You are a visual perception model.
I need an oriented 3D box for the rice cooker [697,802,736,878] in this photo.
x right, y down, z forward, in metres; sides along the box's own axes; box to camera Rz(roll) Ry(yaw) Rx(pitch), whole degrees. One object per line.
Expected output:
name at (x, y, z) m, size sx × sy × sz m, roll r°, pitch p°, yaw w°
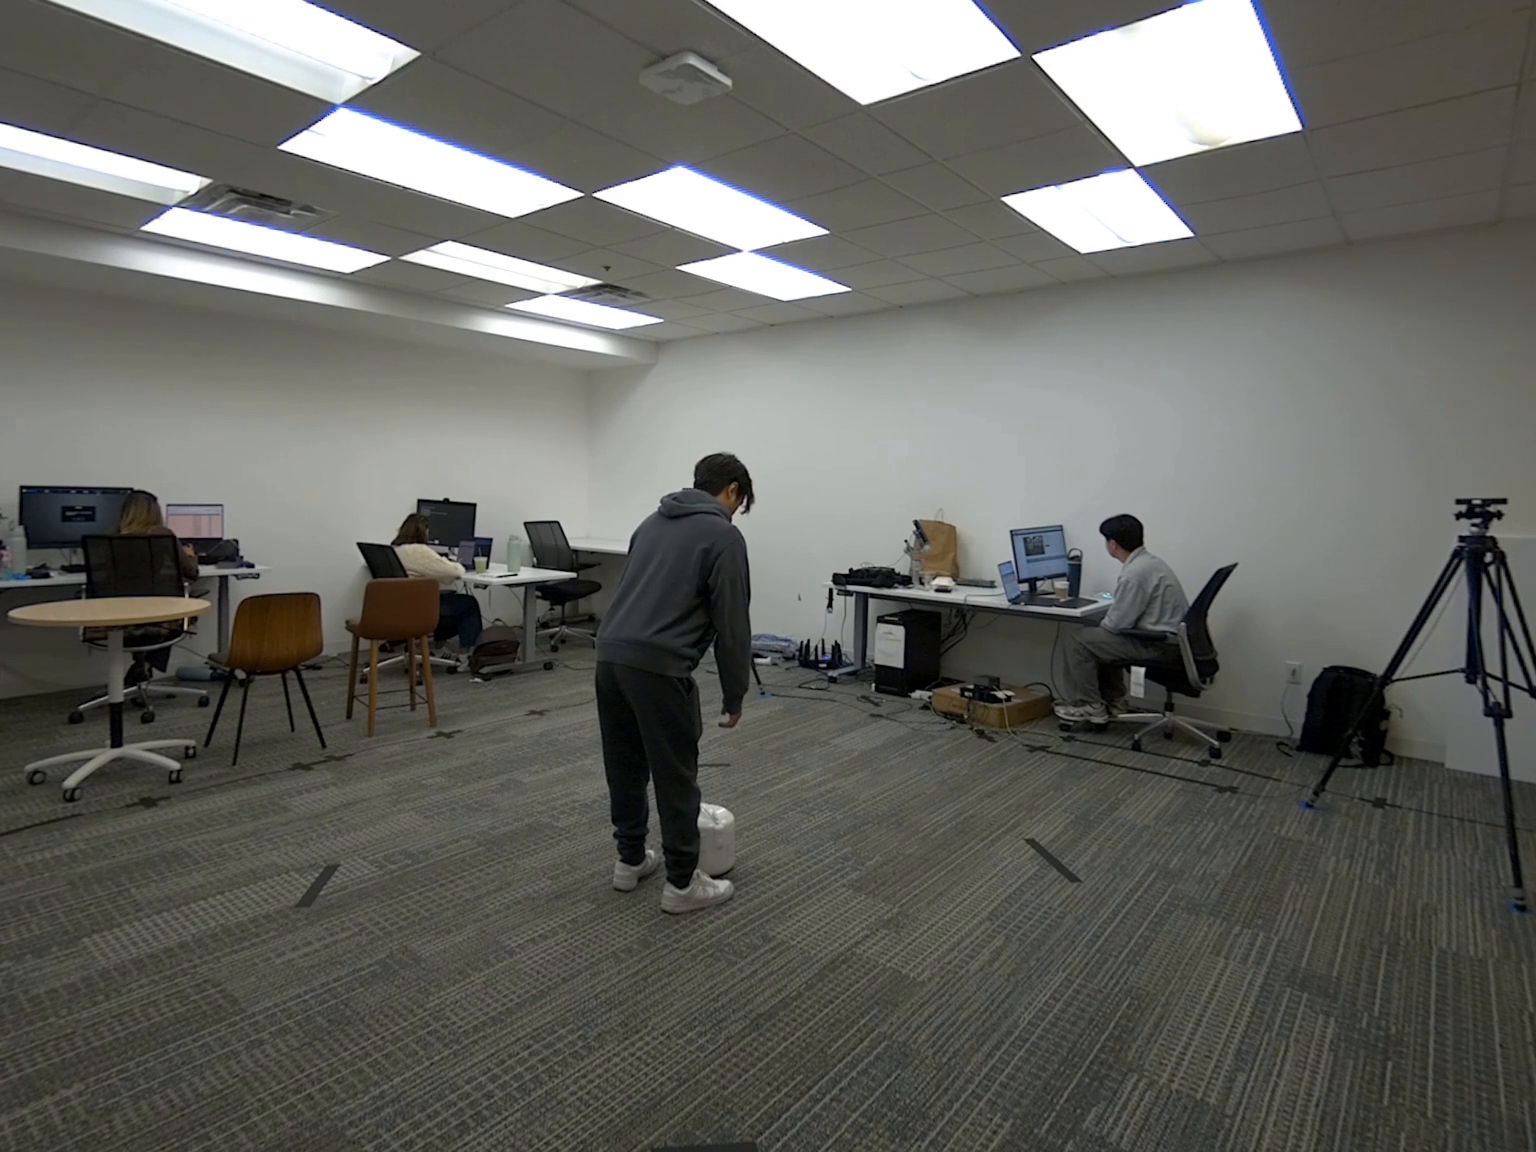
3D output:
rice cooker at (-0.236, 0.951, 3.121) m, size 0.212 × 0.232 × 0.227 m, roll -3°, pitch 5°, yaw -28°
